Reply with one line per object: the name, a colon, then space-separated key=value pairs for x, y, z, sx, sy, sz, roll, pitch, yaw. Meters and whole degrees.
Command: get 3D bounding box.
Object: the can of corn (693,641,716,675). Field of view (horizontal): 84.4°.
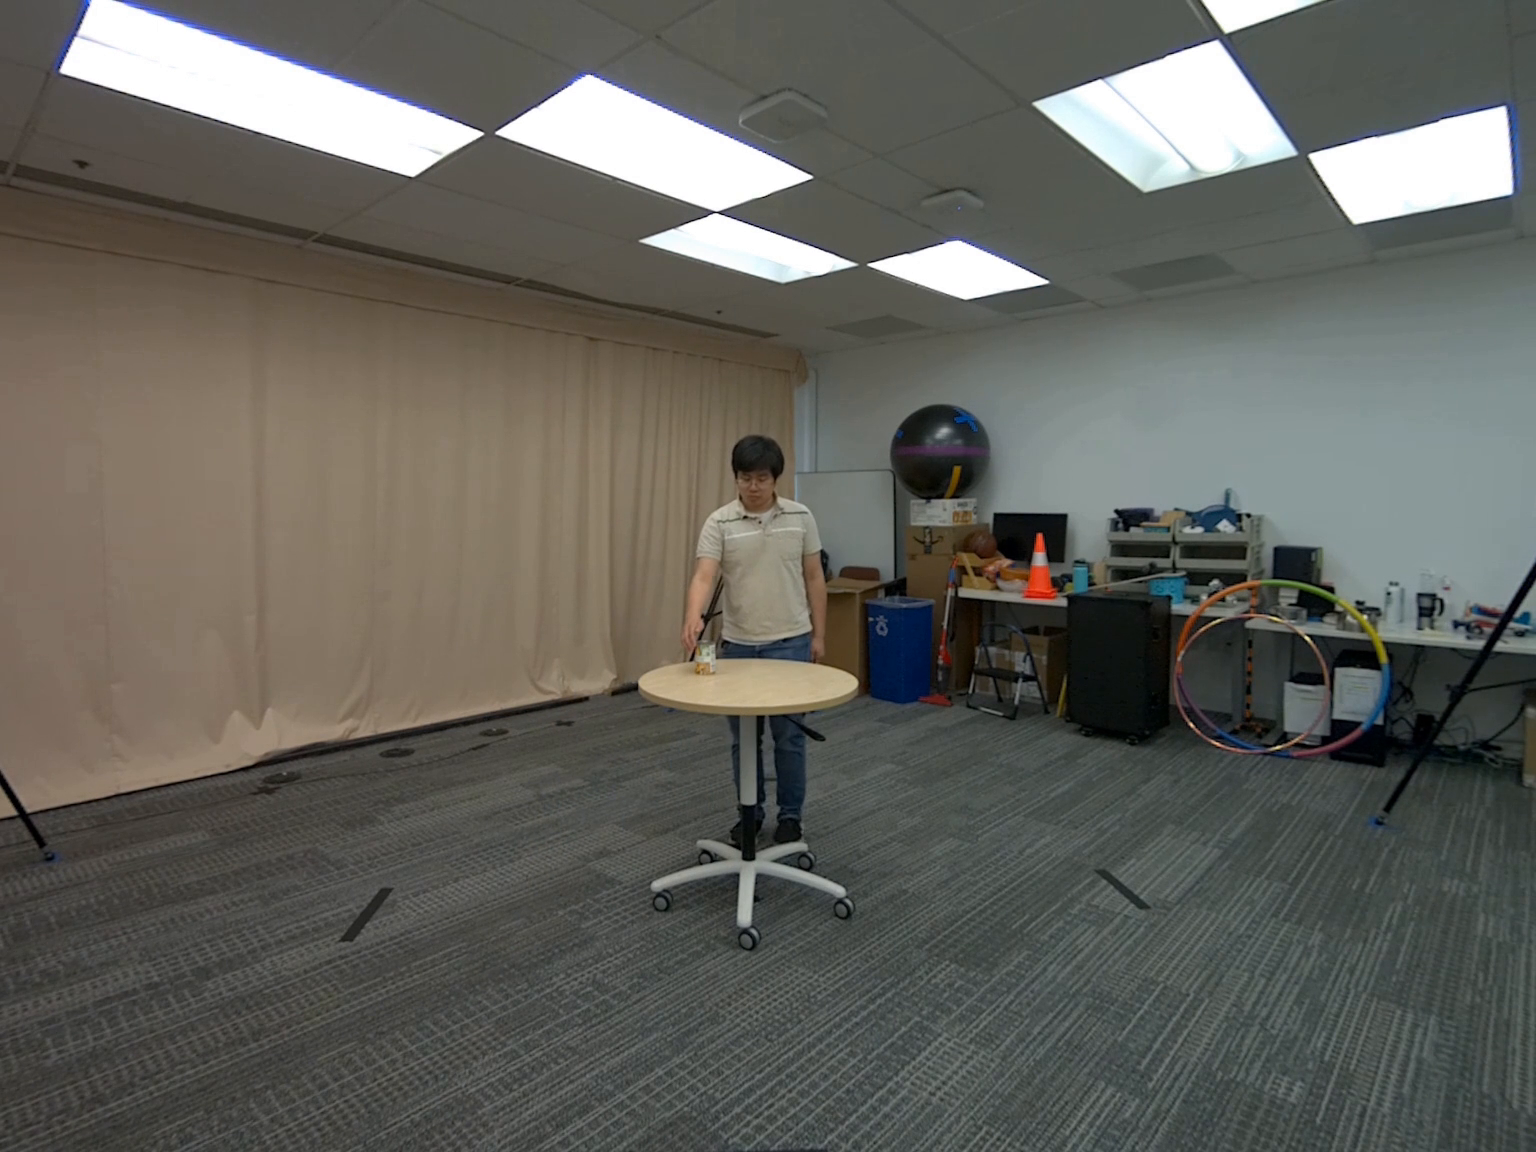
can of corn: x=-0.234 y=0.300 z=3.062 sx=0.074 sy=0.111 sz=0.074 roll=-3 pitch=4 yaw=-2
